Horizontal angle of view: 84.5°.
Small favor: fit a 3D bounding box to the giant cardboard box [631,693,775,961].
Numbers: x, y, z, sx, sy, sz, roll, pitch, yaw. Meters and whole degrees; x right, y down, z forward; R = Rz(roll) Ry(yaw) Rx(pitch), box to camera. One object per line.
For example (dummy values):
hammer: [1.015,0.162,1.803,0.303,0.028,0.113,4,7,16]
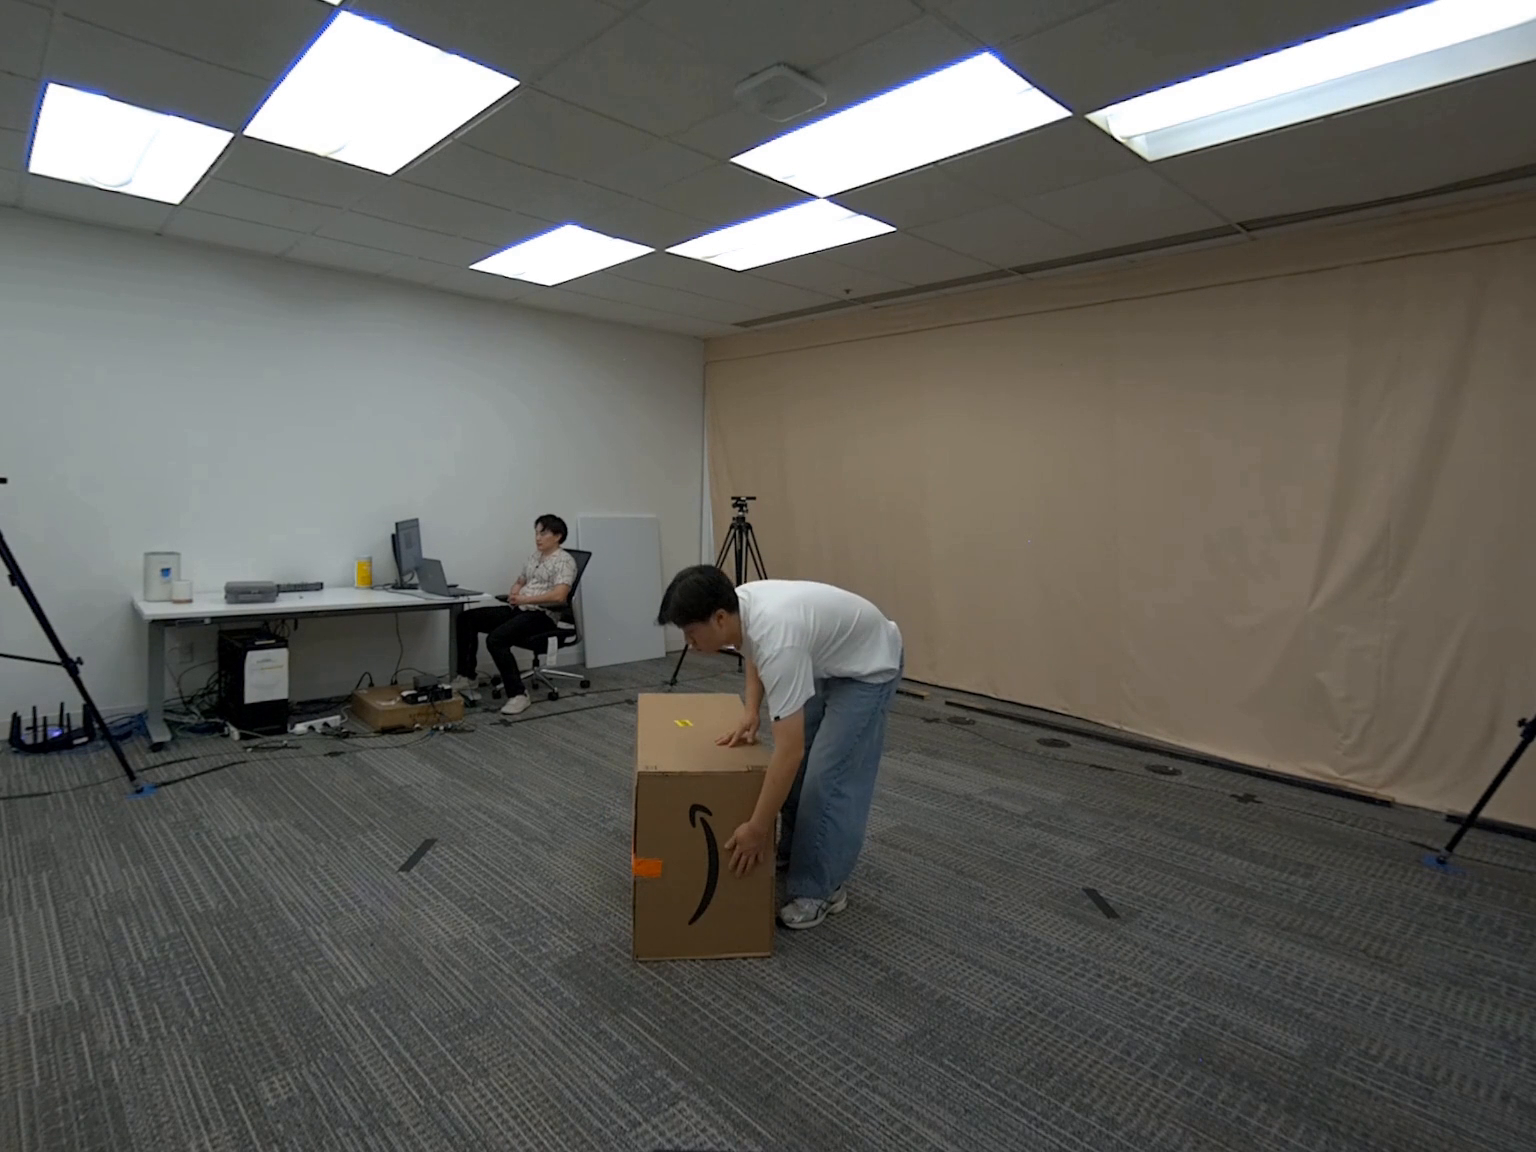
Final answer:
giant cardboard box: [-0.274,0.823,3.024,0.423,0.576,1.035,2,4,-8]
